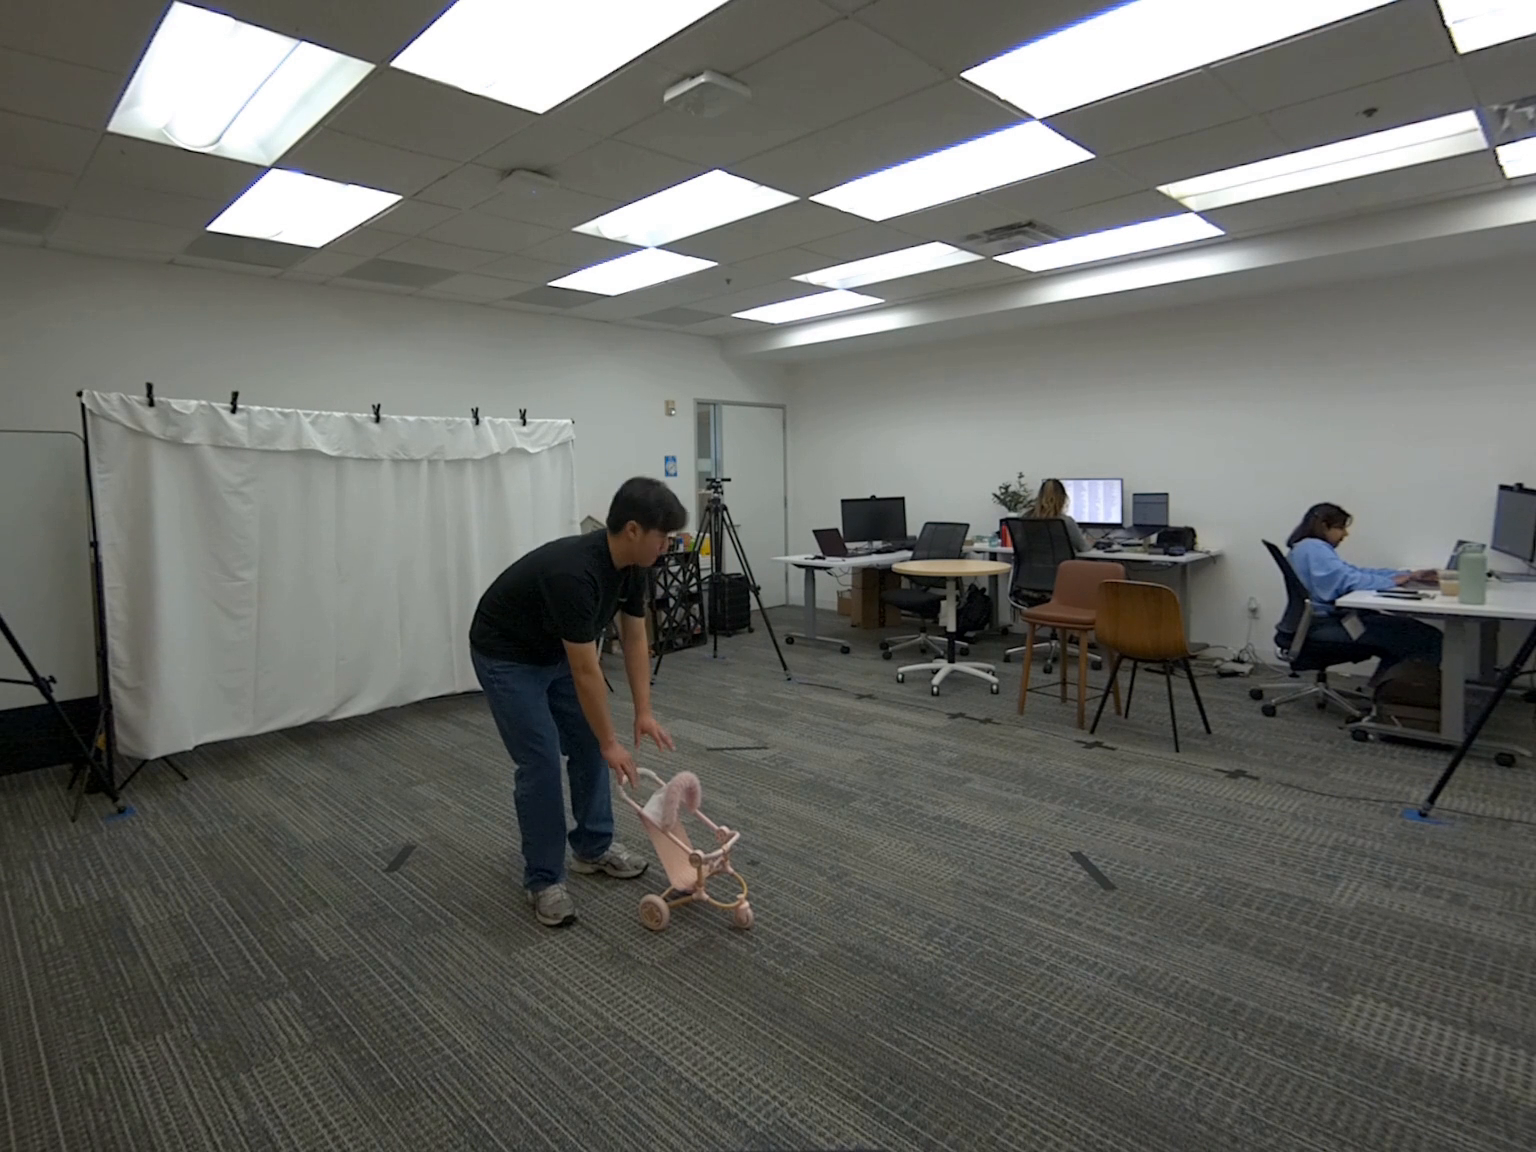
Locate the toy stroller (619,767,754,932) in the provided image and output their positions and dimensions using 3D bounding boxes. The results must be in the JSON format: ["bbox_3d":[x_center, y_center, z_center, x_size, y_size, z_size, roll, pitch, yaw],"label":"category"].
[{"bbox_3d":[-0.249,0.865,2.725,0.347,0.537,0.275,-17,-3,29],"label":"toy stroller"}]
